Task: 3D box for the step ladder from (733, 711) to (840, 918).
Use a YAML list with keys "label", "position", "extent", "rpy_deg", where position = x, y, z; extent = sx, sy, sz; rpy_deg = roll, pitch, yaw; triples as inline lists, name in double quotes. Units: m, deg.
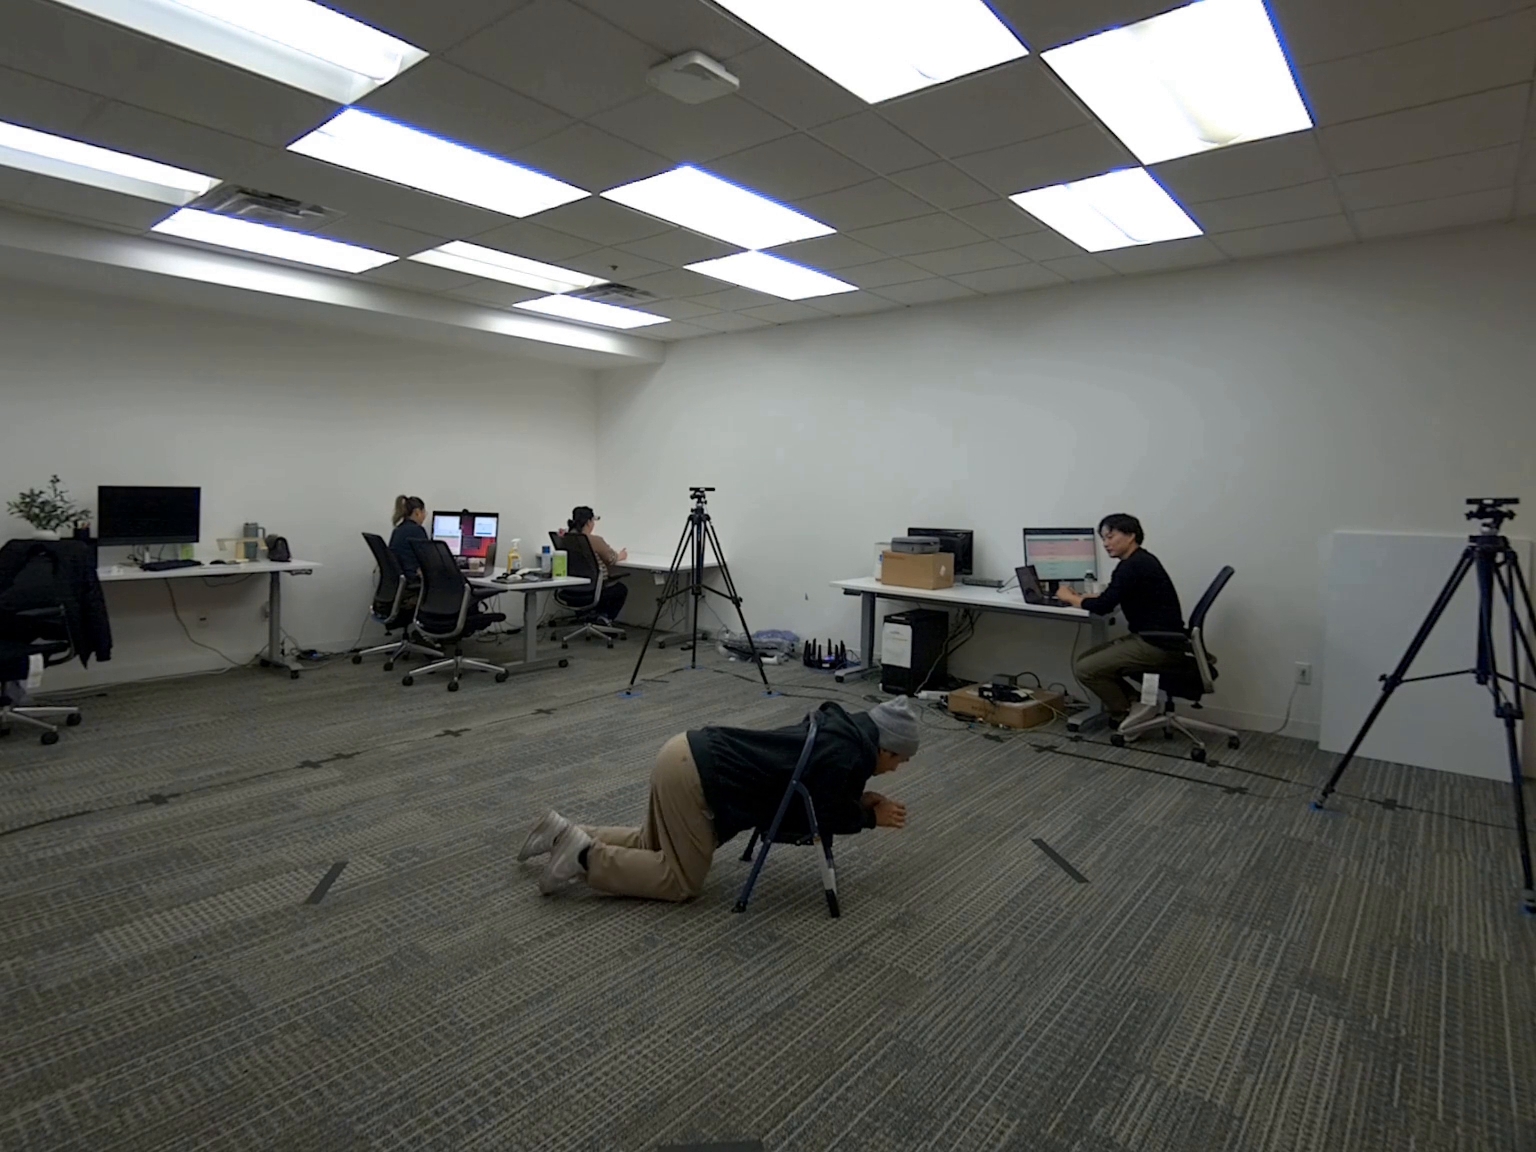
- label: "step ladder"
  position: [0.065, 0.795, 2.973]
  extent: [0.350, 0.605, 0.430]
  rpy_deg: [1, 3, 2]
